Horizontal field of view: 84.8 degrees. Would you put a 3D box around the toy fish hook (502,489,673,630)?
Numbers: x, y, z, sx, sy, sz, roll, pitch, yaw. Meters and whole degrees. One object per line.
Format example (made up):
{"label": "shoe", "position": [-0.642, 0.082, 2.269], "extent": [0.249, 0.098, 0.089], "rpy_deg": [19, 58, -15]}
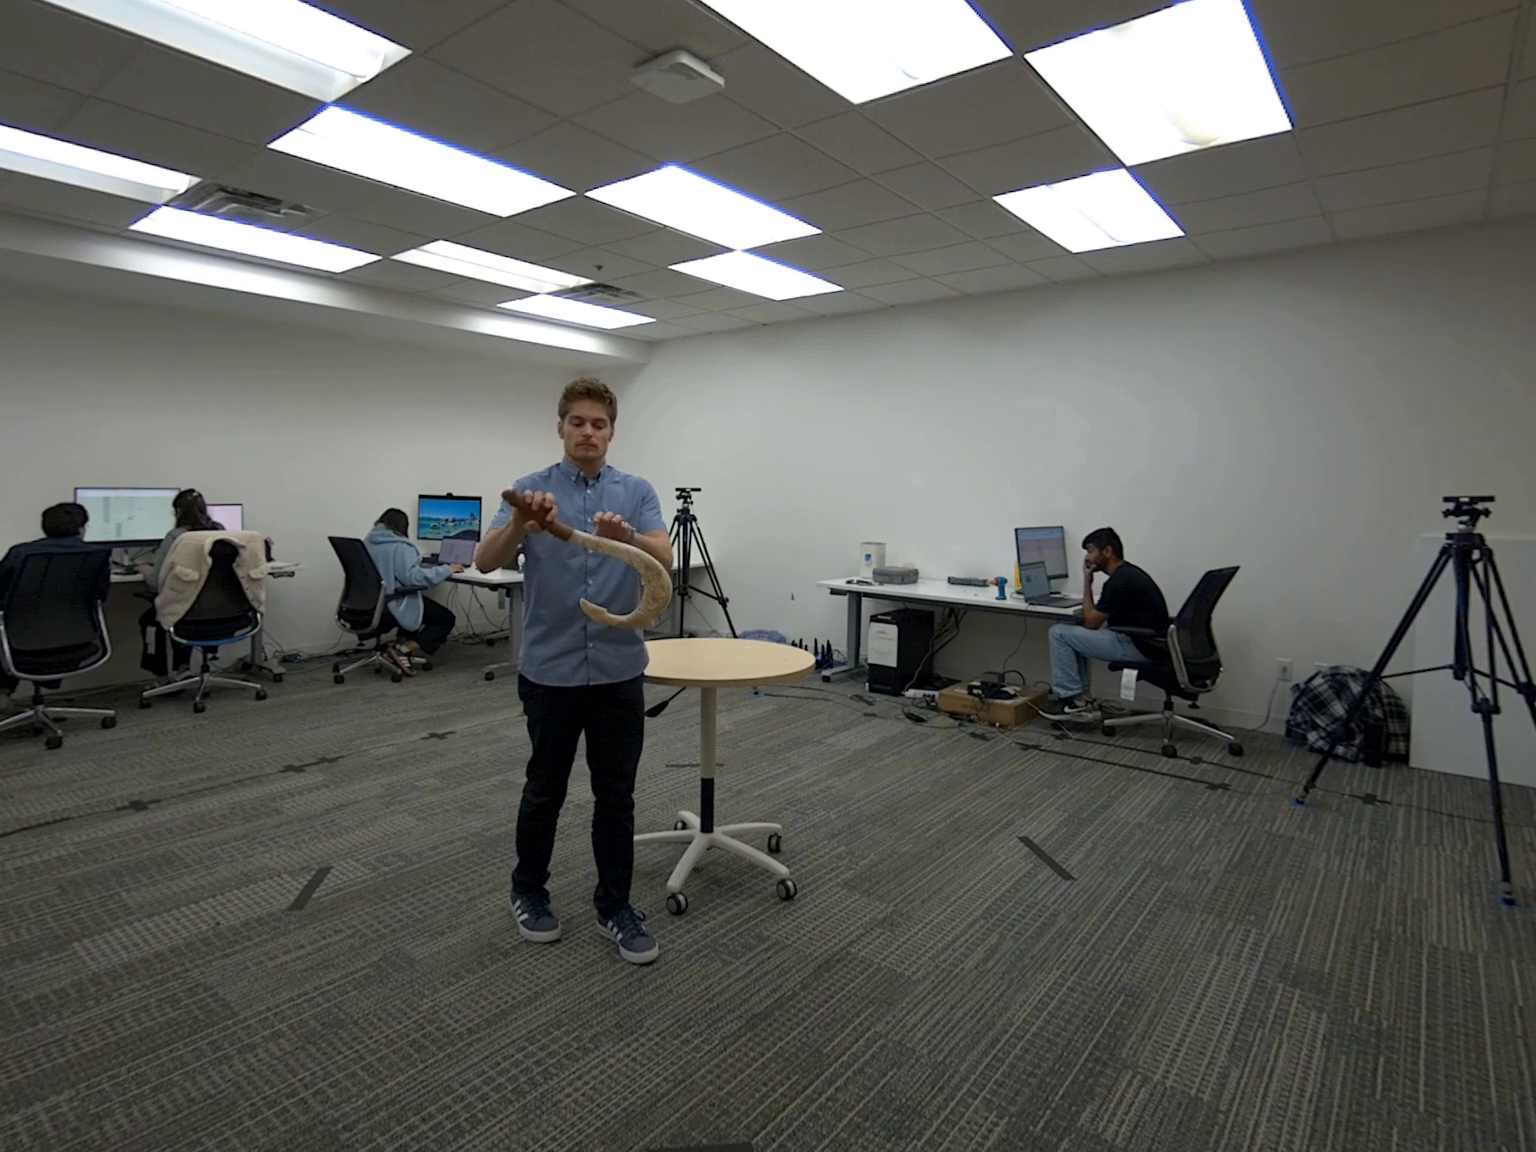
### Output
{"label": "toy fish hook", "position": [-0.484, -0.045, 2.175], "extent": [0.499, 0.224, 0.049], "rpy_deg": [32, 8, -10]}
